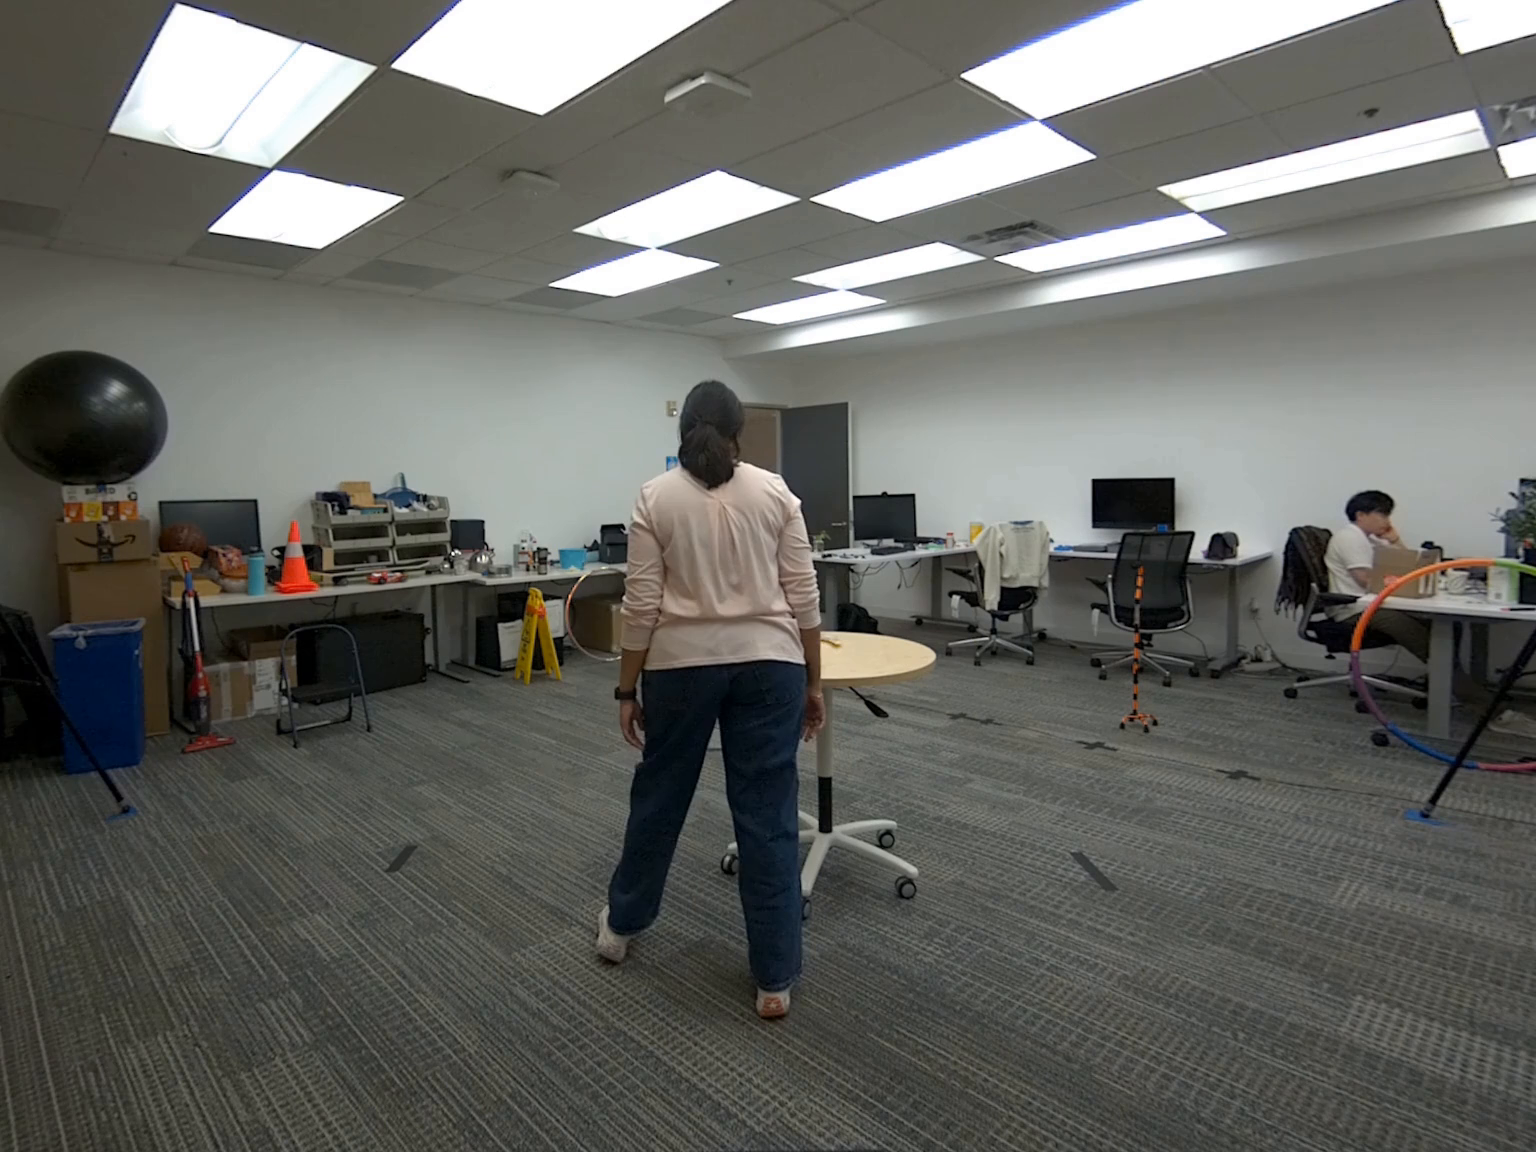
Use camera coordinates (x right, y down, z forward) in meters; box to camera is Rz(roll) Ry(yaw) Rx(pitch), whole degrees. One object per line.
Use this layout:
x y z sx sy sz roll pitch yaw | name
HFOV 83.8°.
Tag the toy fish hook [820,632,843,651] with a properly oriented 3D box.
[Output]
0.180 0.243 2.993 0.224 0.048 0.511 -7 6 -5 | toy fish hook
